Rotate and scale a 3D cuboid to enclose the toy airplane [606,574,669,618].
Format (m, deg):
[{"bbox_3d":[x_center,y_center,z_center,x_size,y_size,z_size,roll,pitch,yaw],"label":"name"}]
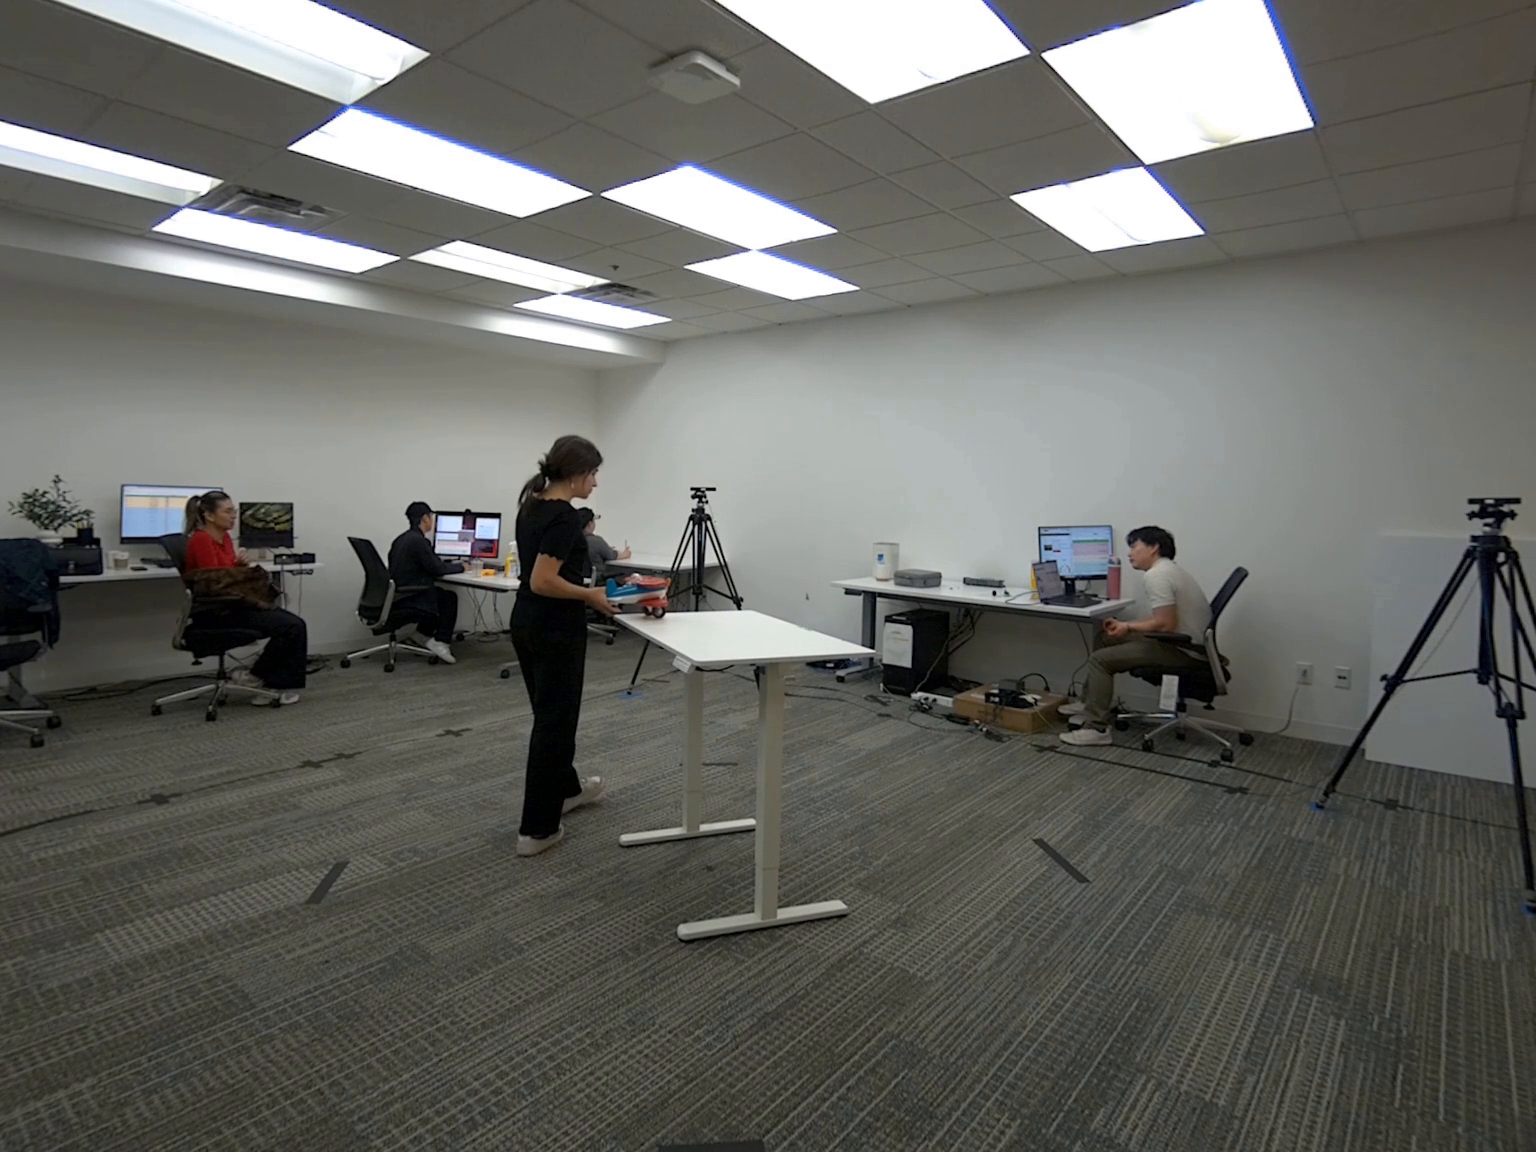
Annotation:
[{"bbox_3d":[-0.513,0.076,3.298,0.259,0.157,0.251,6,-2,29],"label":"toy airplane"}]
